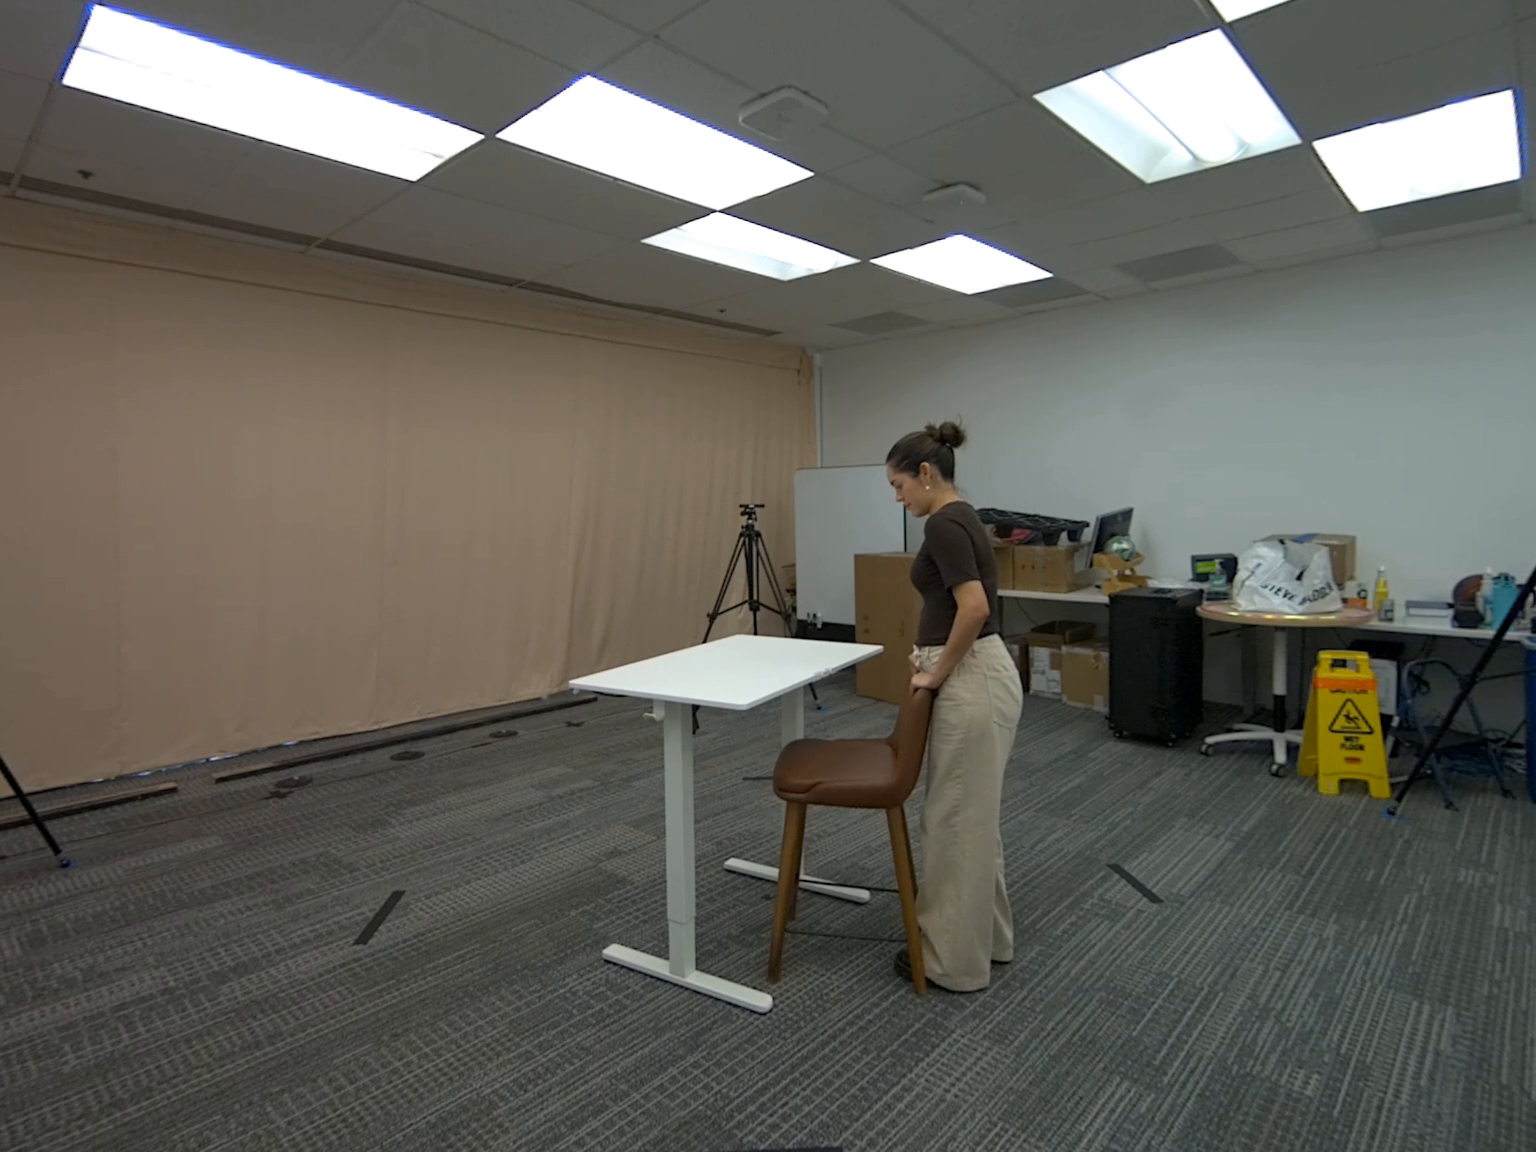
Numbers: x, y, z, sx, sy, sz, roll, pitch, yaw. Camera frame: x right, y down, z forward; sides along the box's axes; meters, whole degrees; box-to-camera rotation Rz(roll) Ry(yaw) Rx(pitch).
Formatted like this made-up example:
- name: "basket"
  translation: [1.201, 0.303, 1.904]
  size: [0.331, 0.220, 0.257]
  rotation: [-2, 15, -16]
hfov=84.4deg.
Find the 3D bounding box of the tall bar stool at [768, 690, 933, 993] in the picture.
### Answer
- name: "tall bar stool"
  translation: [0.258, 0.734, 2.579]
  size: [0.474, 0.888, 0.451]
  rotation: [3, 3, 12]
